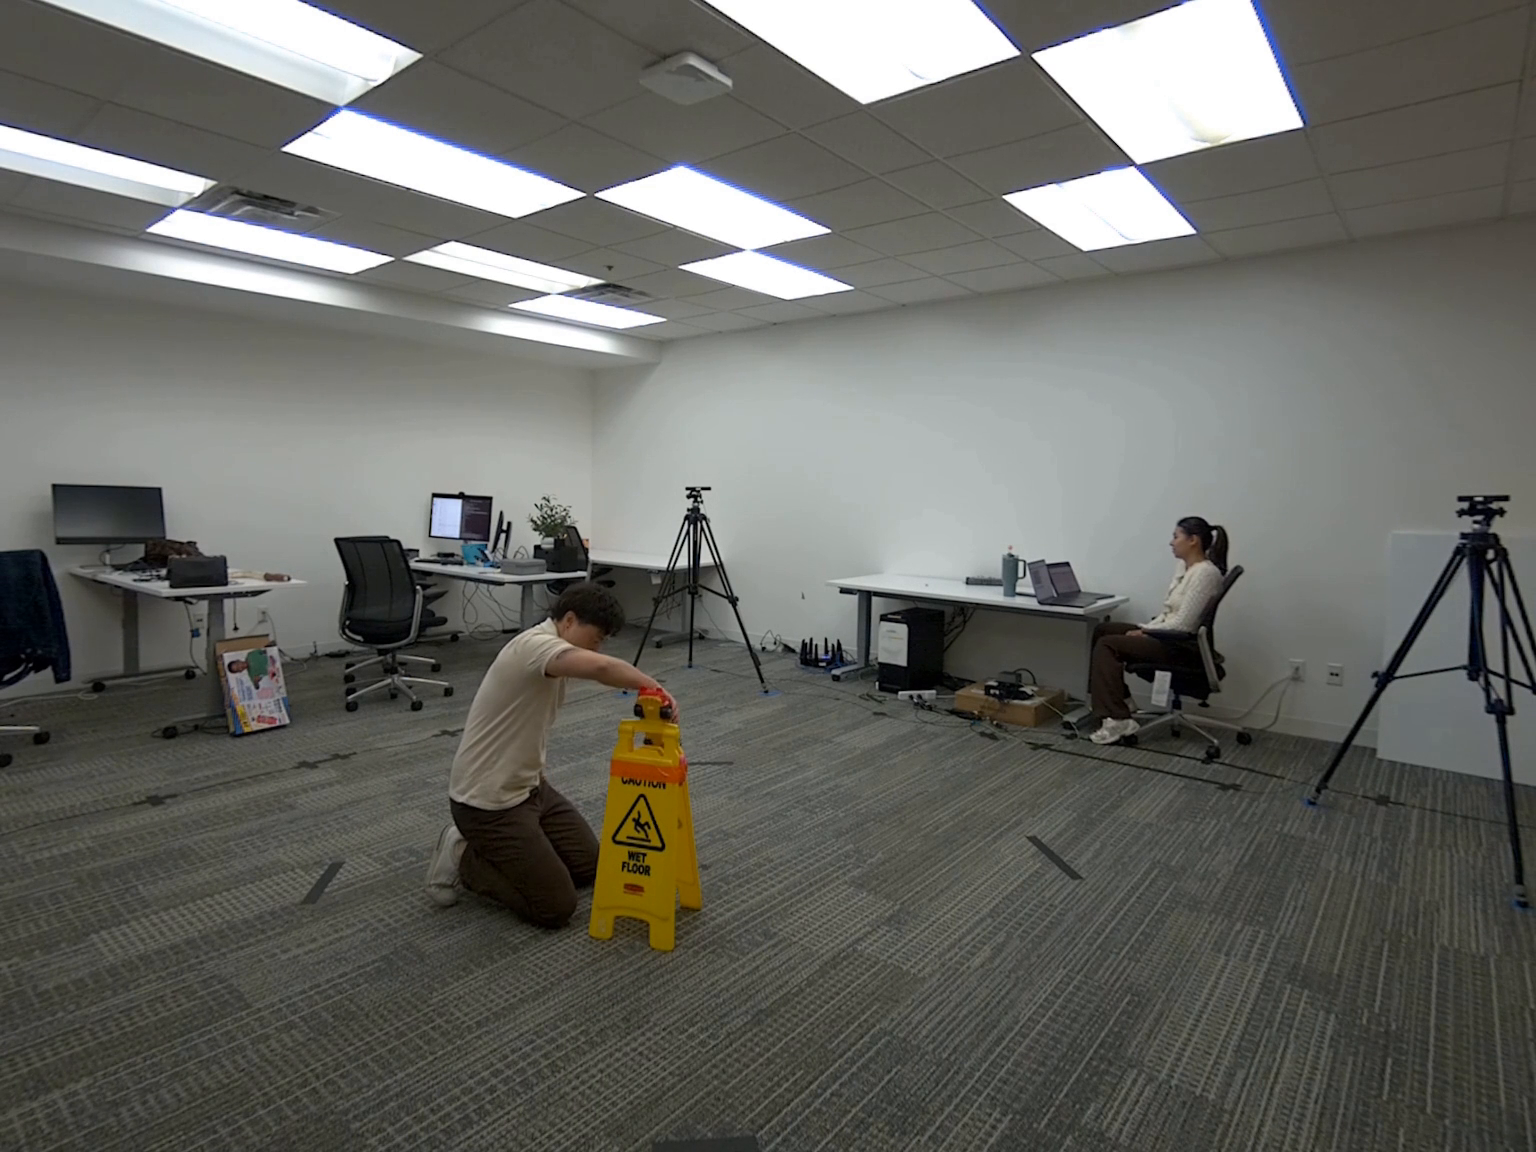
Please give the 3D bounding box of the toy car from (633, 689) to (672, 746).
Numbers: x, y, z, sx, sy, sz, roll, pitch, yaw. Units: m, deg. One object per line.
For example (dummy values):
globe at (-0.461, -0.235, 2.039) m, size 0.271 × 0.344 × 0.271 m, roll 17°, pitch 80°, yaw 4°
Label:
toy car at (-0.367, 0.463, 2.706) m, size 0.133 × 0.249 × 0.083 m, roll 4°, pitch 23°, yaw 17°
